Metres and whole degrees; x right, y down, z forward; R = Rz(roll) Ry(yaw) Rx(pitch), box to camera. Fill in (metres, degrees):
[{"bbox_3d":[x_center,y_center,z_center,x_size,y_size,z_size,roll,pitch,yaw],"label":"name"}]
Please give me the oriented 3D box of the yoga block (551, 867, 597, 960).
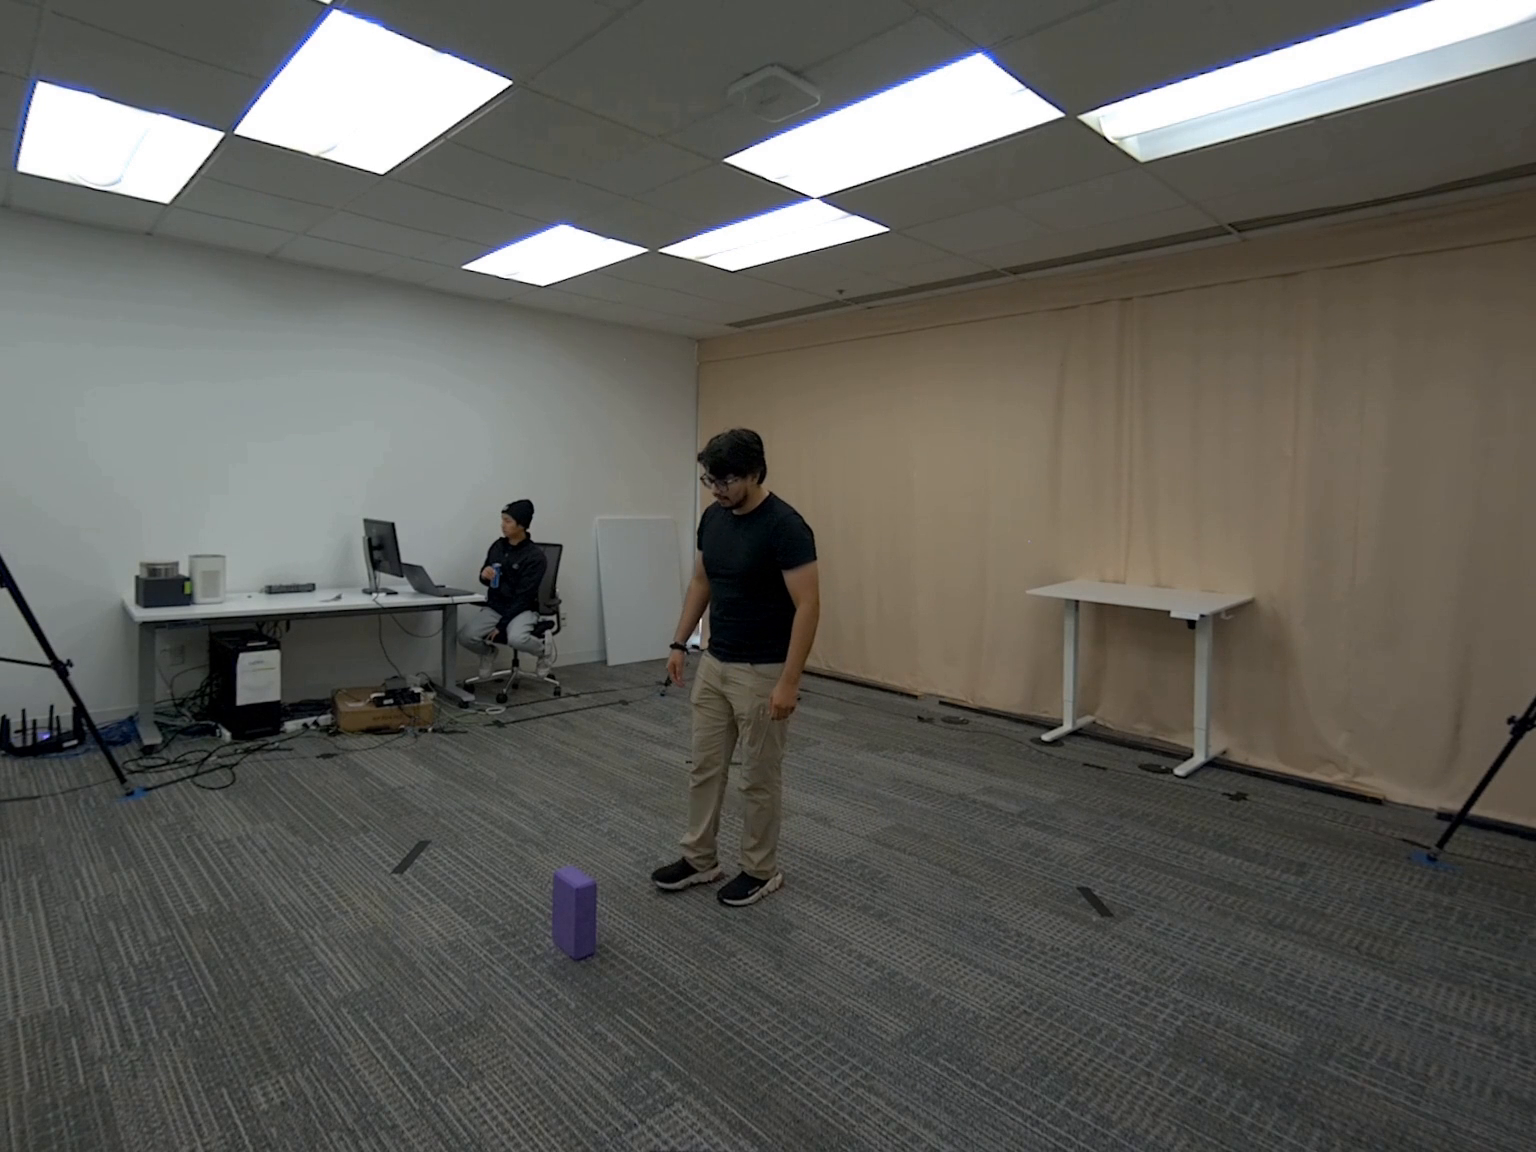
[{"bbox_3d":[-0.601,1.032,2.574,0.075,0.229,0.153,-1,4,-43],"label":"yoga block"}]
